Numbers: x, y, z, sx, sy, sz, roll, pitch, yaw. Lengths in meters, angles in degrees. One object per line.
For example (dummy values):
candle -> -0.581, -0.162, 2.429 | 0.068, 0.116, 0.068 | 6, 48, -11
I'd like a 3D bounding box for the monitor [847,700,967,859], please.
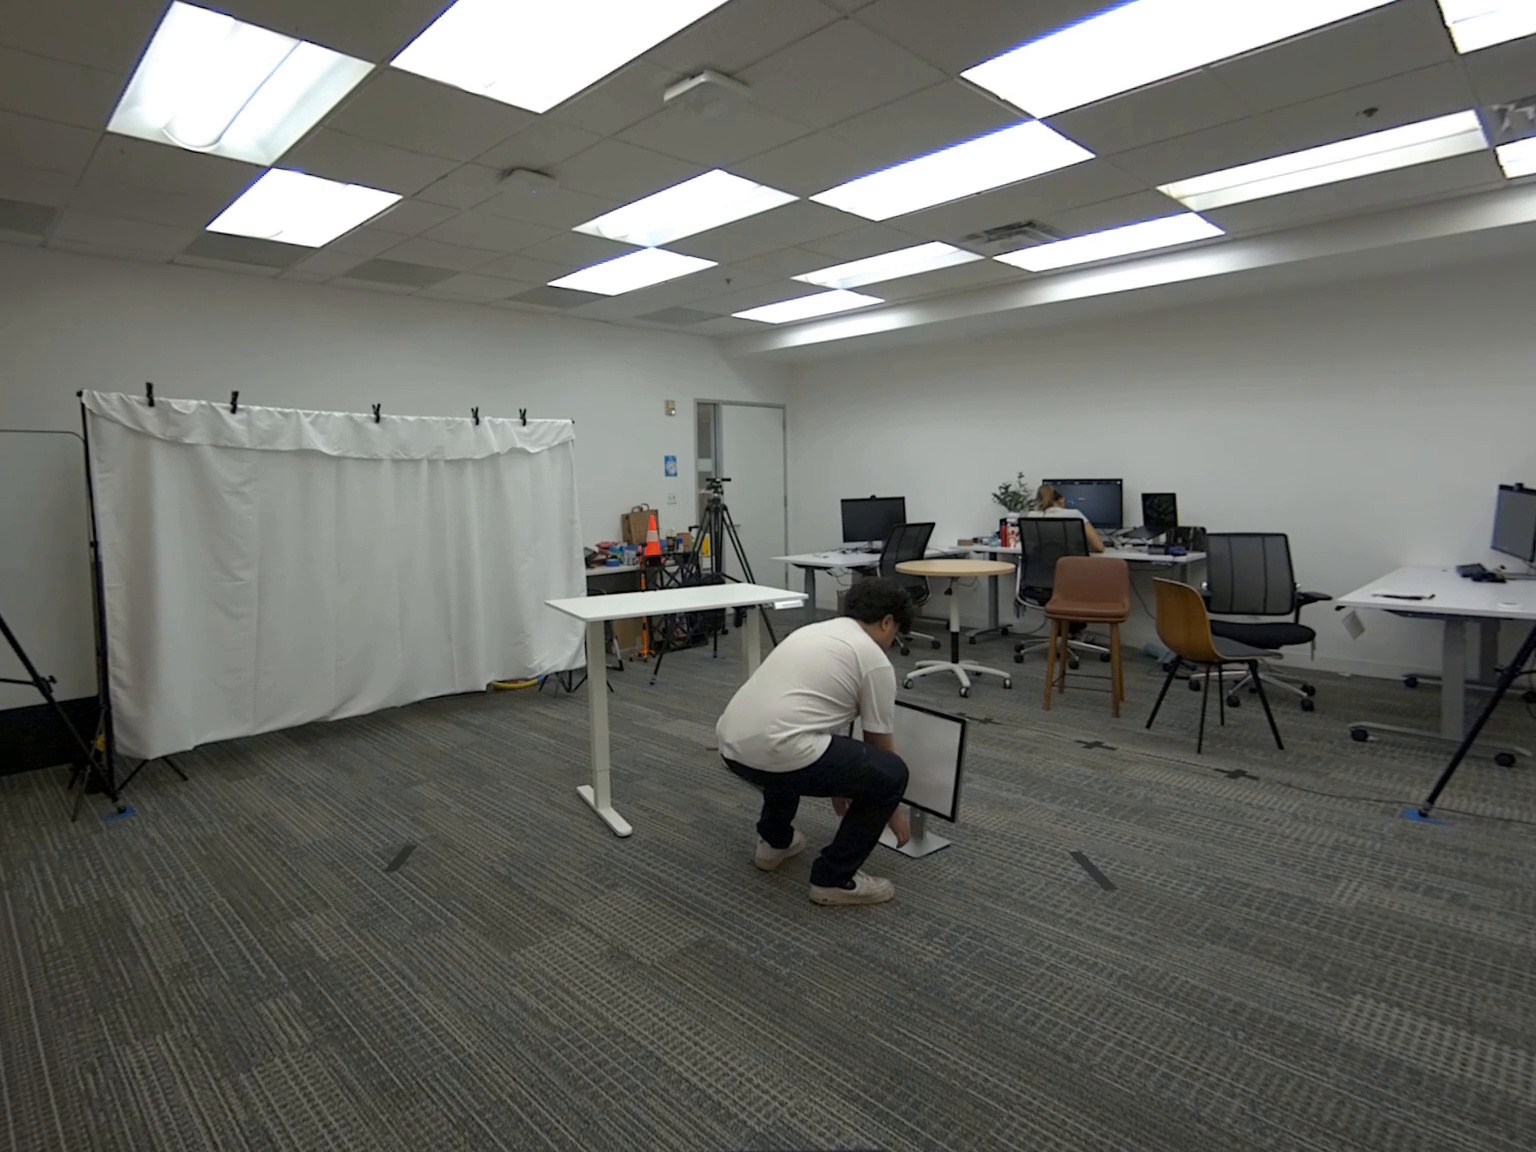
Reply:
monitor -> 0.561, 0.750, 3.262 | 0.204, 0.554, 0.582 | 3, 1, -37
